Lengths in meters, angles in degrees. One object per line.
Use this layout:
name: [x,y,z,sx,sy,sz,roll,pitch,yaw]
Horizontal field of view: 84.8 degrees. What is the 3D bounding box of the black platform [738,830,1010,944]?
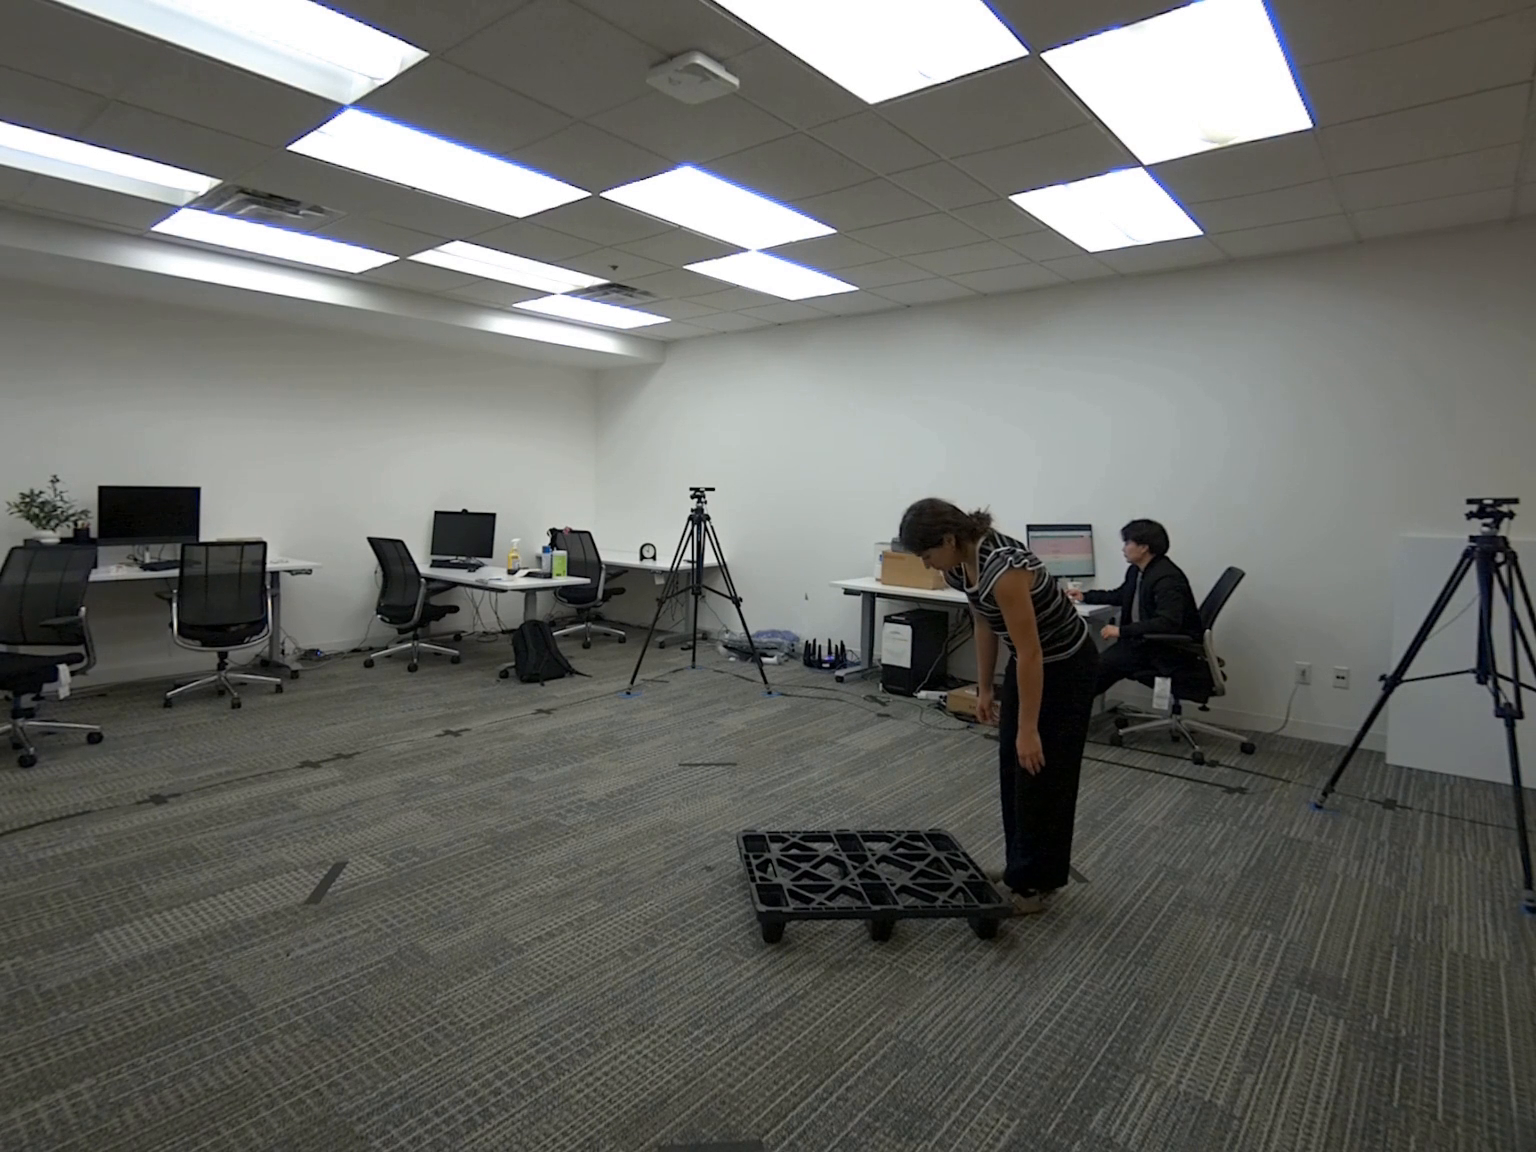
black platform: [0.314,1.033,2.864,0.801,0.142,0.612,1,6,-6]
